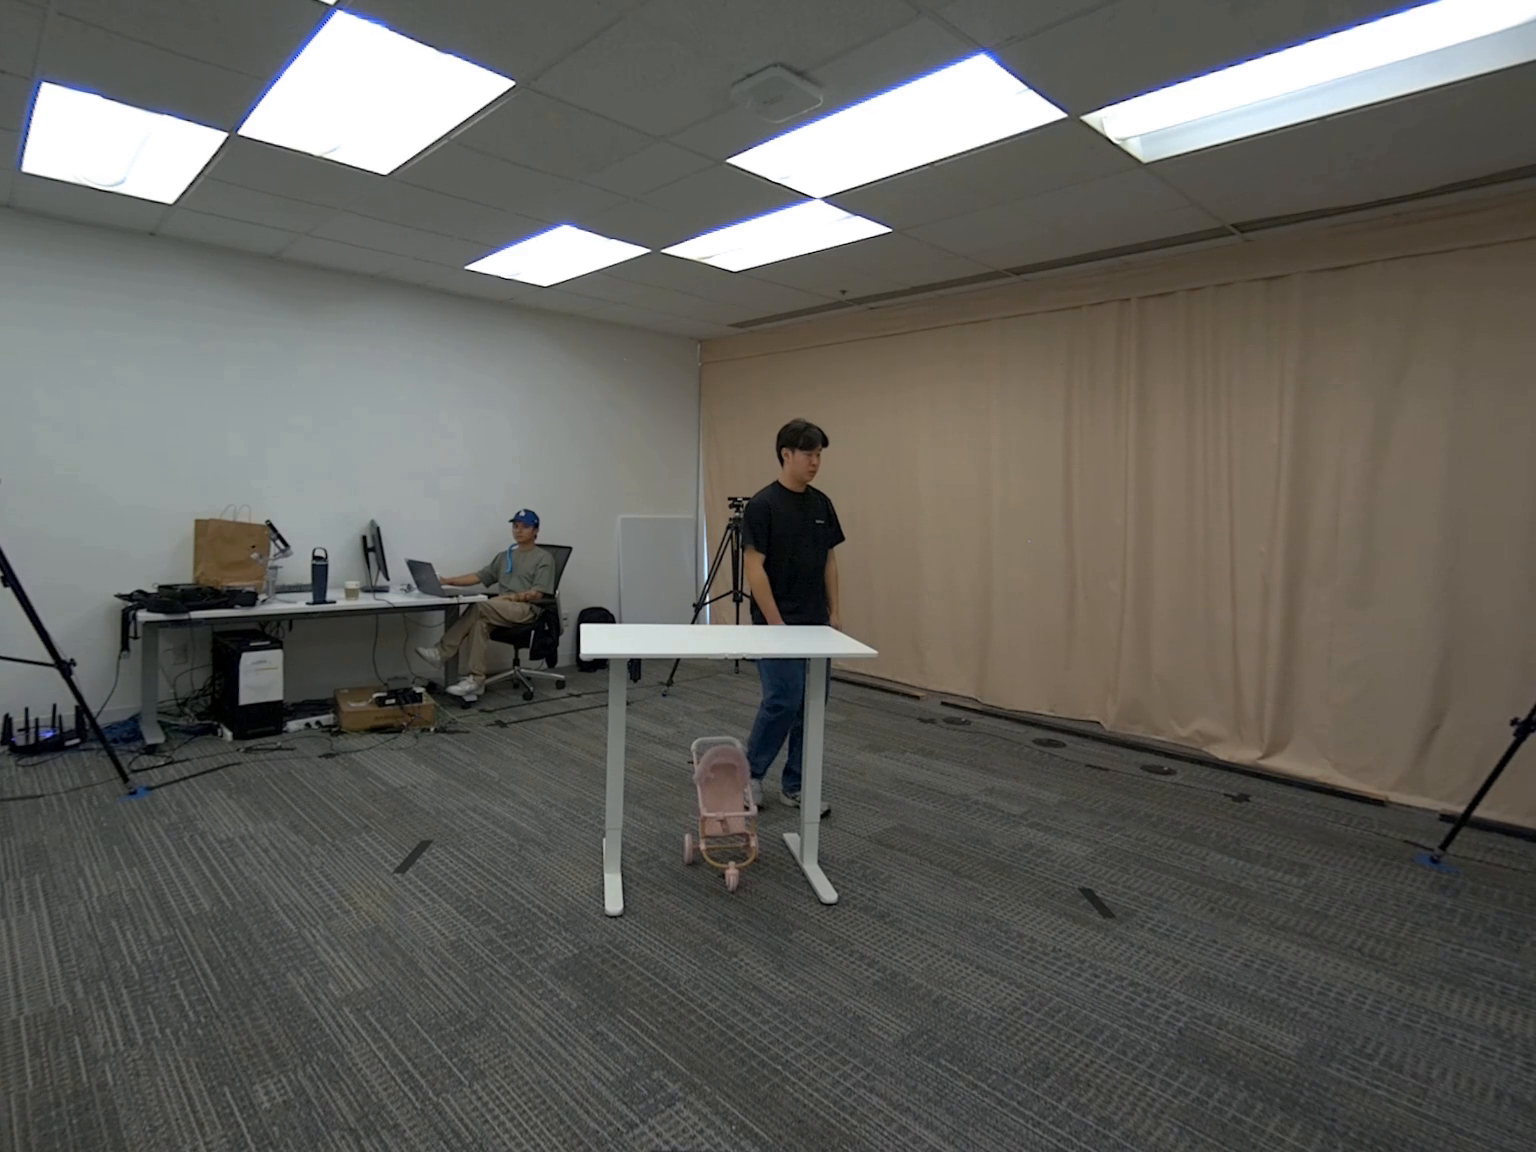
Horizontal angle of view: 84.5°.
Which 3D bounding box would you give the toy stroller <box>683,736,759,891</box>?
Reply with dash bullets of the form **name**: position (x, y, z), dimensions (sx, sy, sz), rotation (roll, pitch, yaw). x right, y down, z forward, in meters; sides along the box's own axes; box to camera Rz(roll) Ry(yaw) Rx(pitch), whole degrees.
- **toy stroller**: position (-0.173, 0.877, 3.155), dimensions (0.280, 0.540, 0.340), rotation (1, -12, -8)
